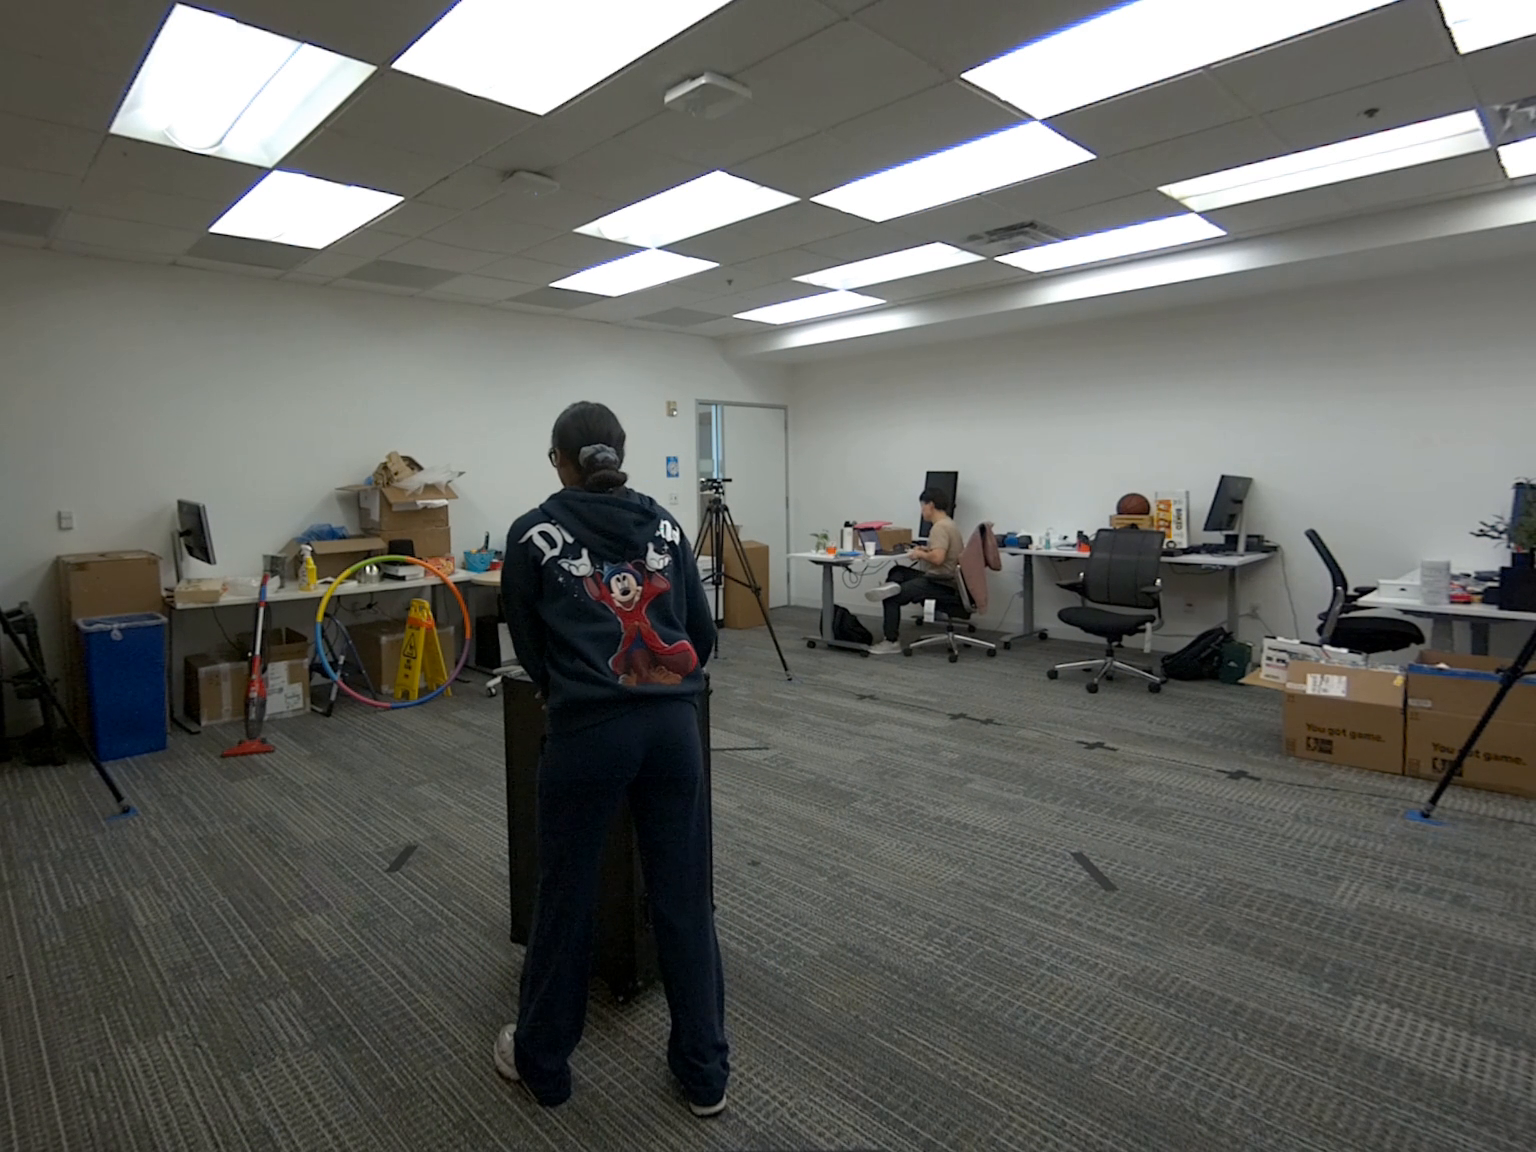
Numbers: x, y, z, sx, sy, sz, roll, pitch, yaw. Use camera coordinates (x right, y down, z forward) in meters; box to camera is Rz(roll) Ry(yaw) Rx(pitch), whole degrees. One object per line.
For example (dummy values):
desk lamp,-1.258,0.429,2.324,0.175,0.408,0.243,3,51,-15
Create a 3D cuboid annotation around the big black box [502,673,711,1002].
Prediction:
big black box,-0.463,0.703,2.484,0.536,0.859,0.386,2,3,33
